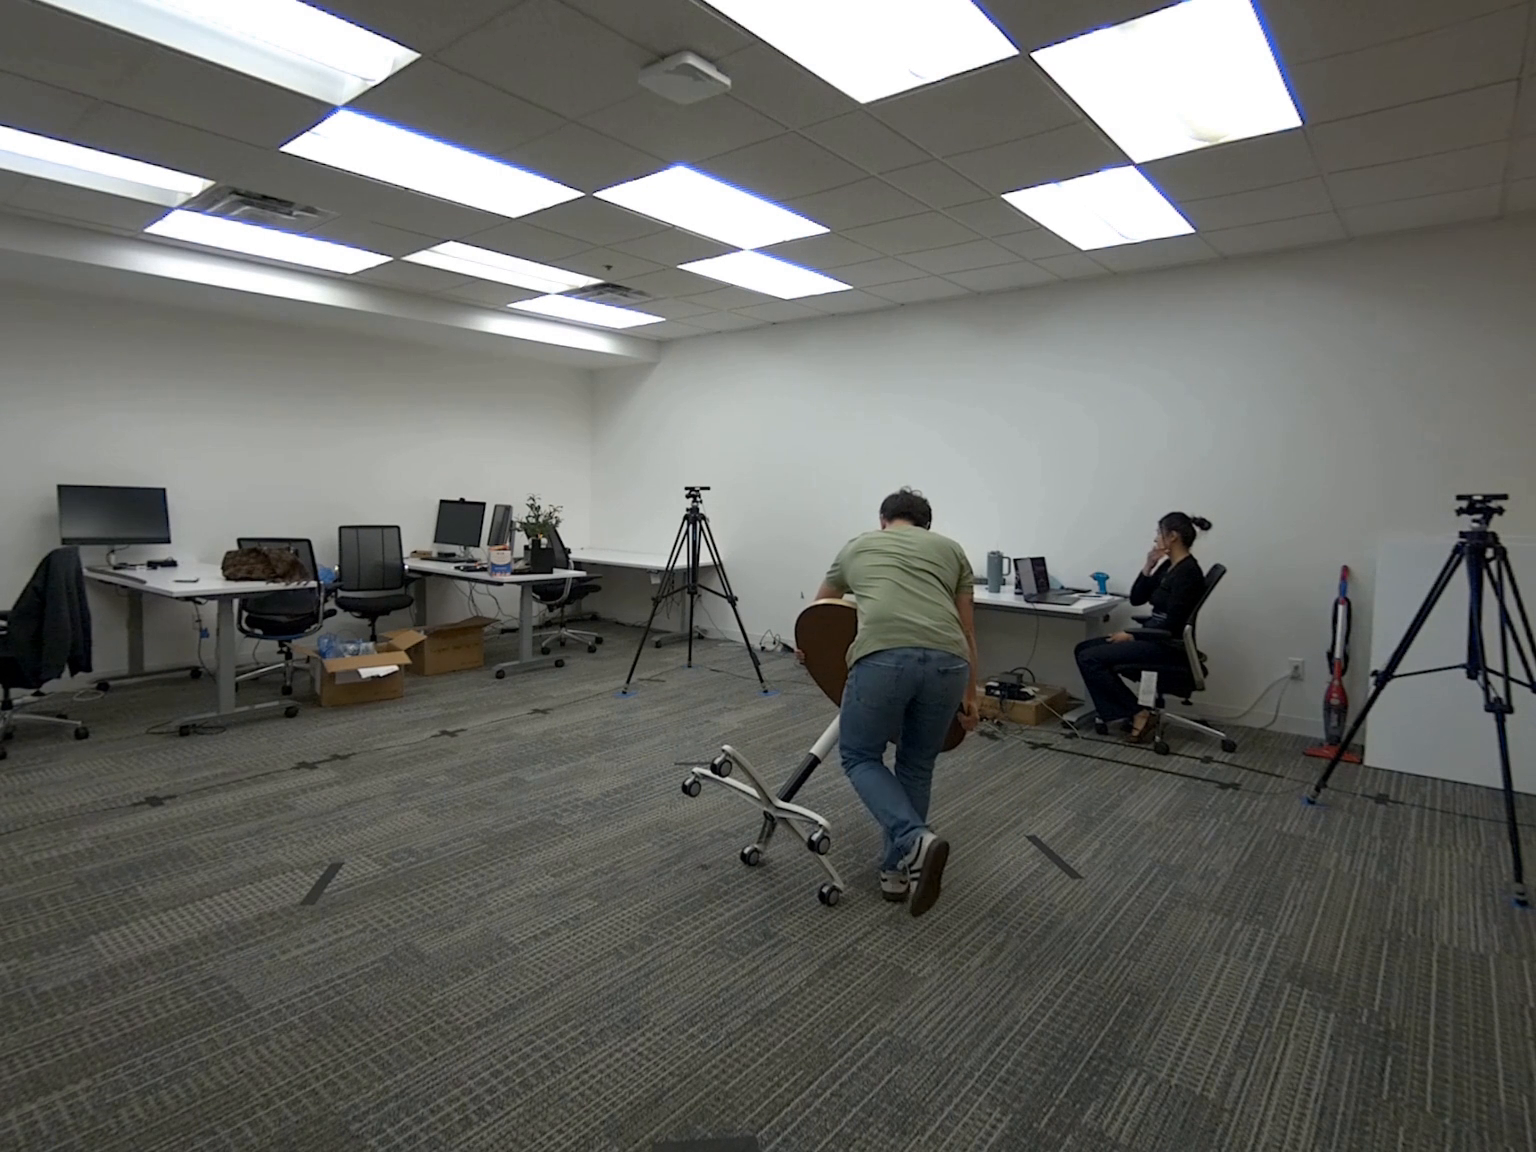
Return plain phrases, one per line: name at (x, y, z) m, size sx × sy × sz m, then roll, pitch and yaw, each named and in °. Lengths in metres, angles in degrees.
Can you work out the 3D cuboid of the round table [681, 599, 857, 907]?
round table at (0.171, 0.621, 3.089) m, size 0.790 × 0.740 × 0.792 m, roll 5°, pitch 42°, yaw 48°
